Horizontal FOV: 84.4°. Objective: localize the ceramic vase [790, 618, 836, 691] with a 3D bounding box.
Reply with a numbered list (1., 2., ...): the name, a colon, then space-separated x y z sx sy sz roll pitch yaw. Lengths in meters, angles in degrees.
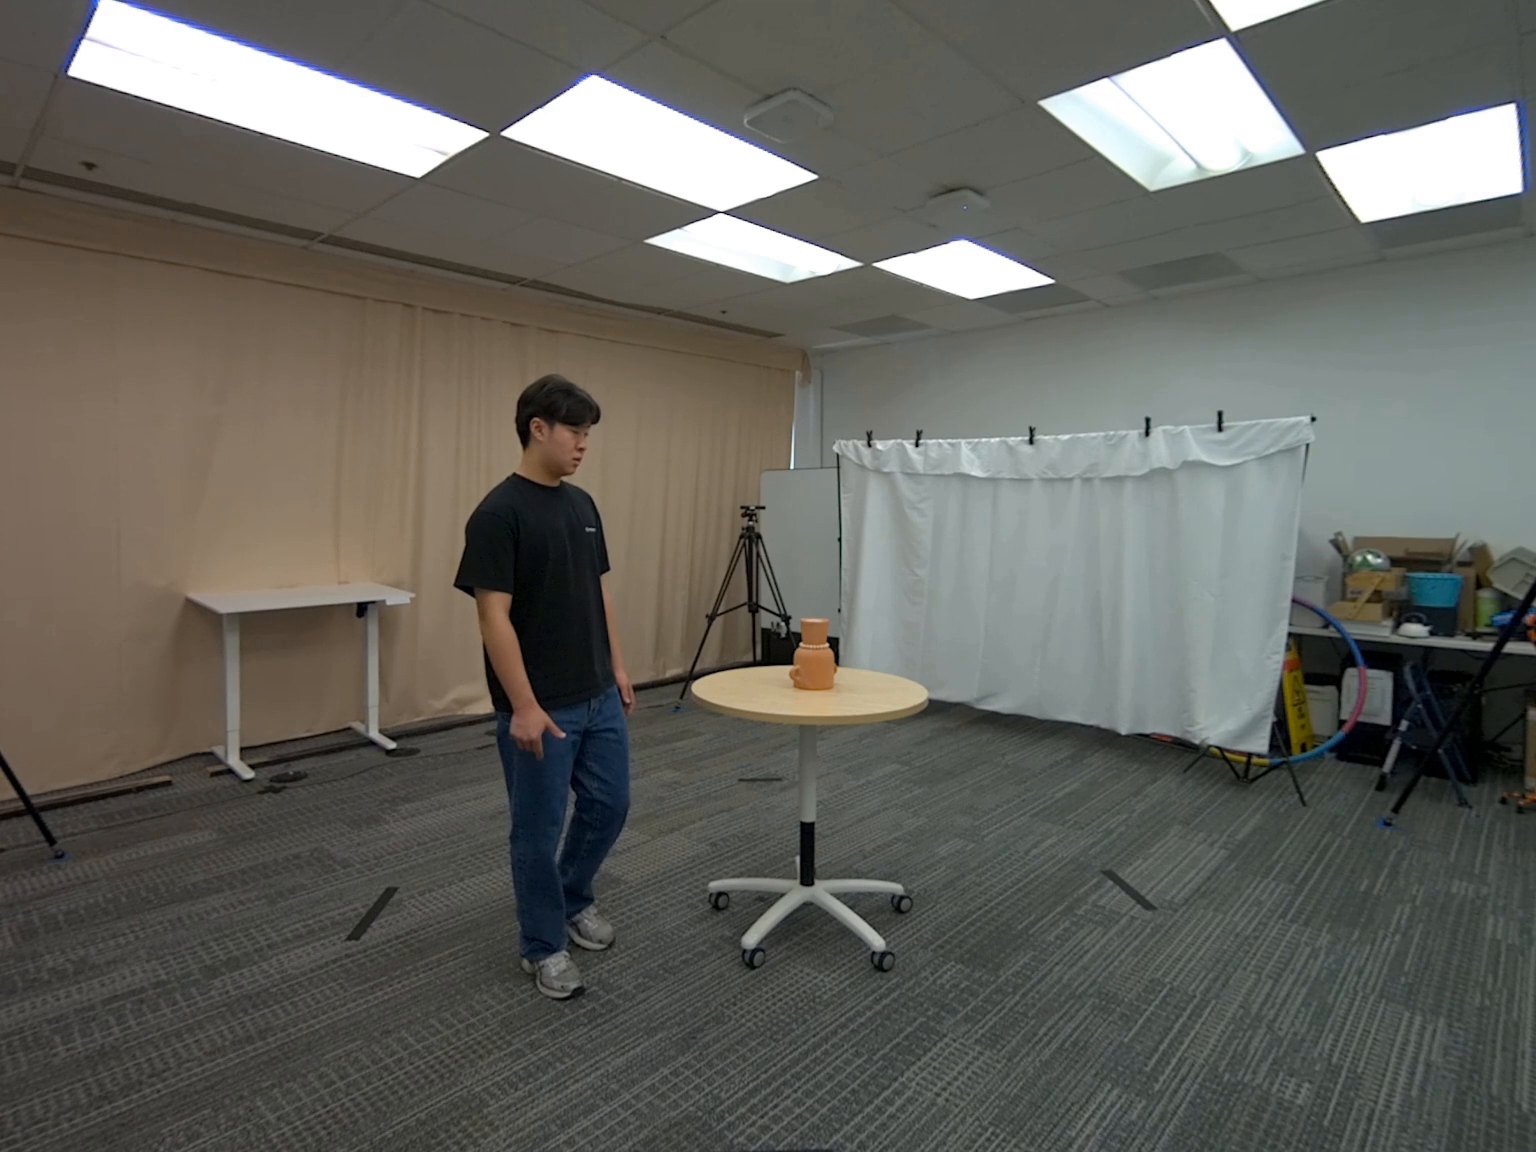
1. ceramic vase: 0.158 0.254 2.768 0.137 0.219 0.156 1 5 16
